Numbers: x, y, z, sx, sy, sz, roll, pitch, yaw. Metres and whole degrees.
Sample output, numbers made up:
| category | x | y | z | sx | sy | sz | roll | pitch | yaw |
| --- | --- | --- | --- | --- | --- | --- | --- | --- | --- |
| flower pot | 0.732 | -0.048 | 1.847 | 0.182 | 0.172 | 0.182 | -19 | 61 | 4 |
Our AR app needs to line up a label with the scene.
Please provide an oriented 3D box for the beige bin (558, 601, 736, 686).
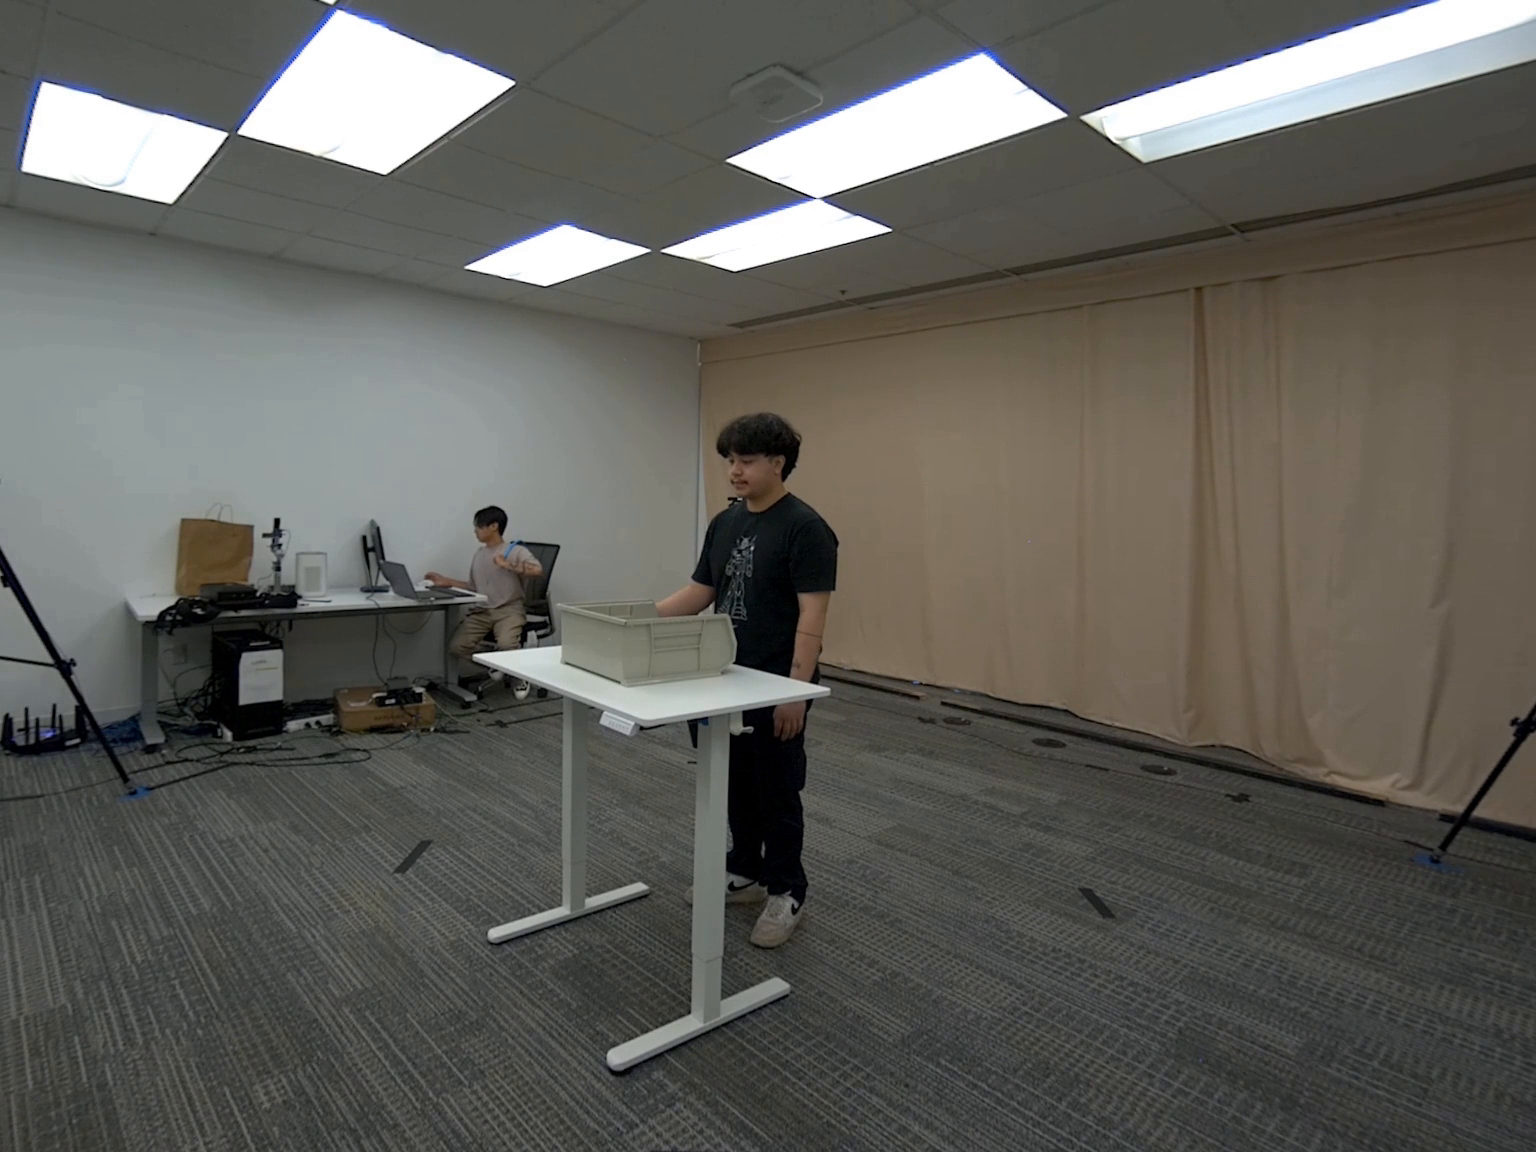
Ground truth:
| category | x | y | z | sx | sy | sz | roll | pitch | yaw |
| --- | --- | --- | --- | --- | --- | --- | --- | --- | --- |
| beige bin | -0.375 | 0.193 | 2.491 | 0.369 | 0.188 | 0.433 | -2 | 6 | -37 |
